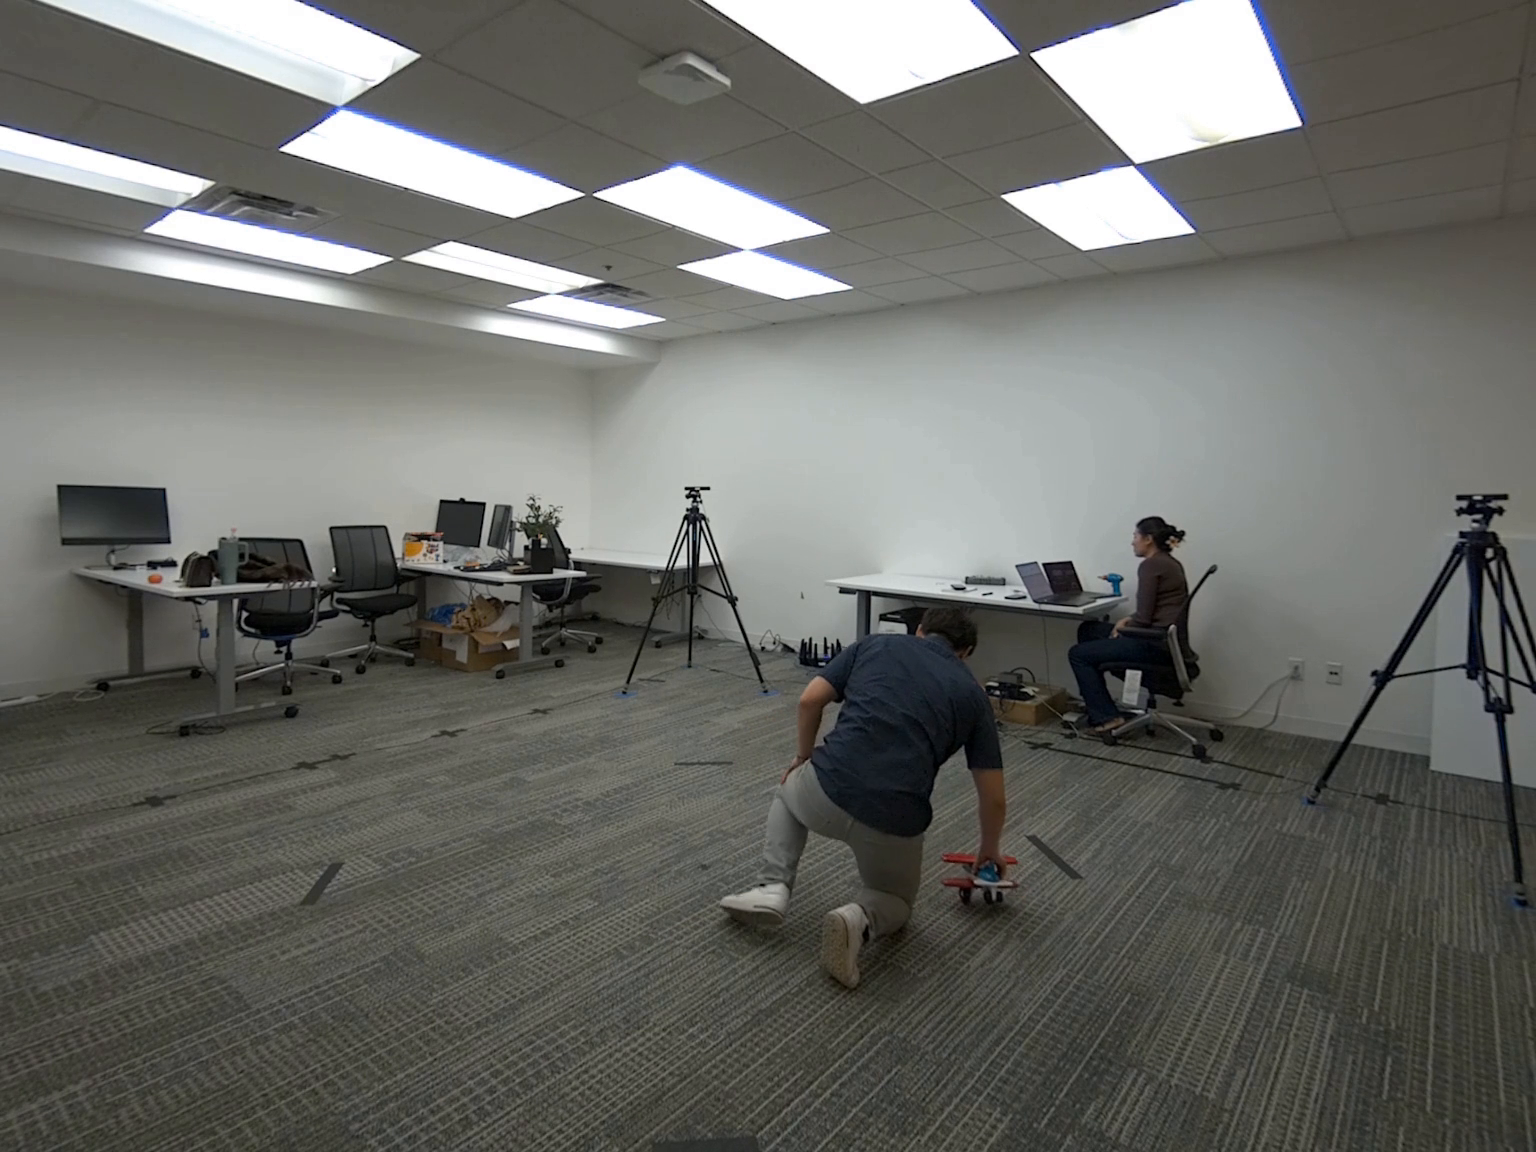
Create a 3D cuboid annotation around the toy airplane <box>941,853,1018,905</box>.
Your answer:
[{"bbox_3d":[0.730,1.014,2.832,0.244,0.159,0.261,13,-25,-27],"label":"toy airplane"}]
